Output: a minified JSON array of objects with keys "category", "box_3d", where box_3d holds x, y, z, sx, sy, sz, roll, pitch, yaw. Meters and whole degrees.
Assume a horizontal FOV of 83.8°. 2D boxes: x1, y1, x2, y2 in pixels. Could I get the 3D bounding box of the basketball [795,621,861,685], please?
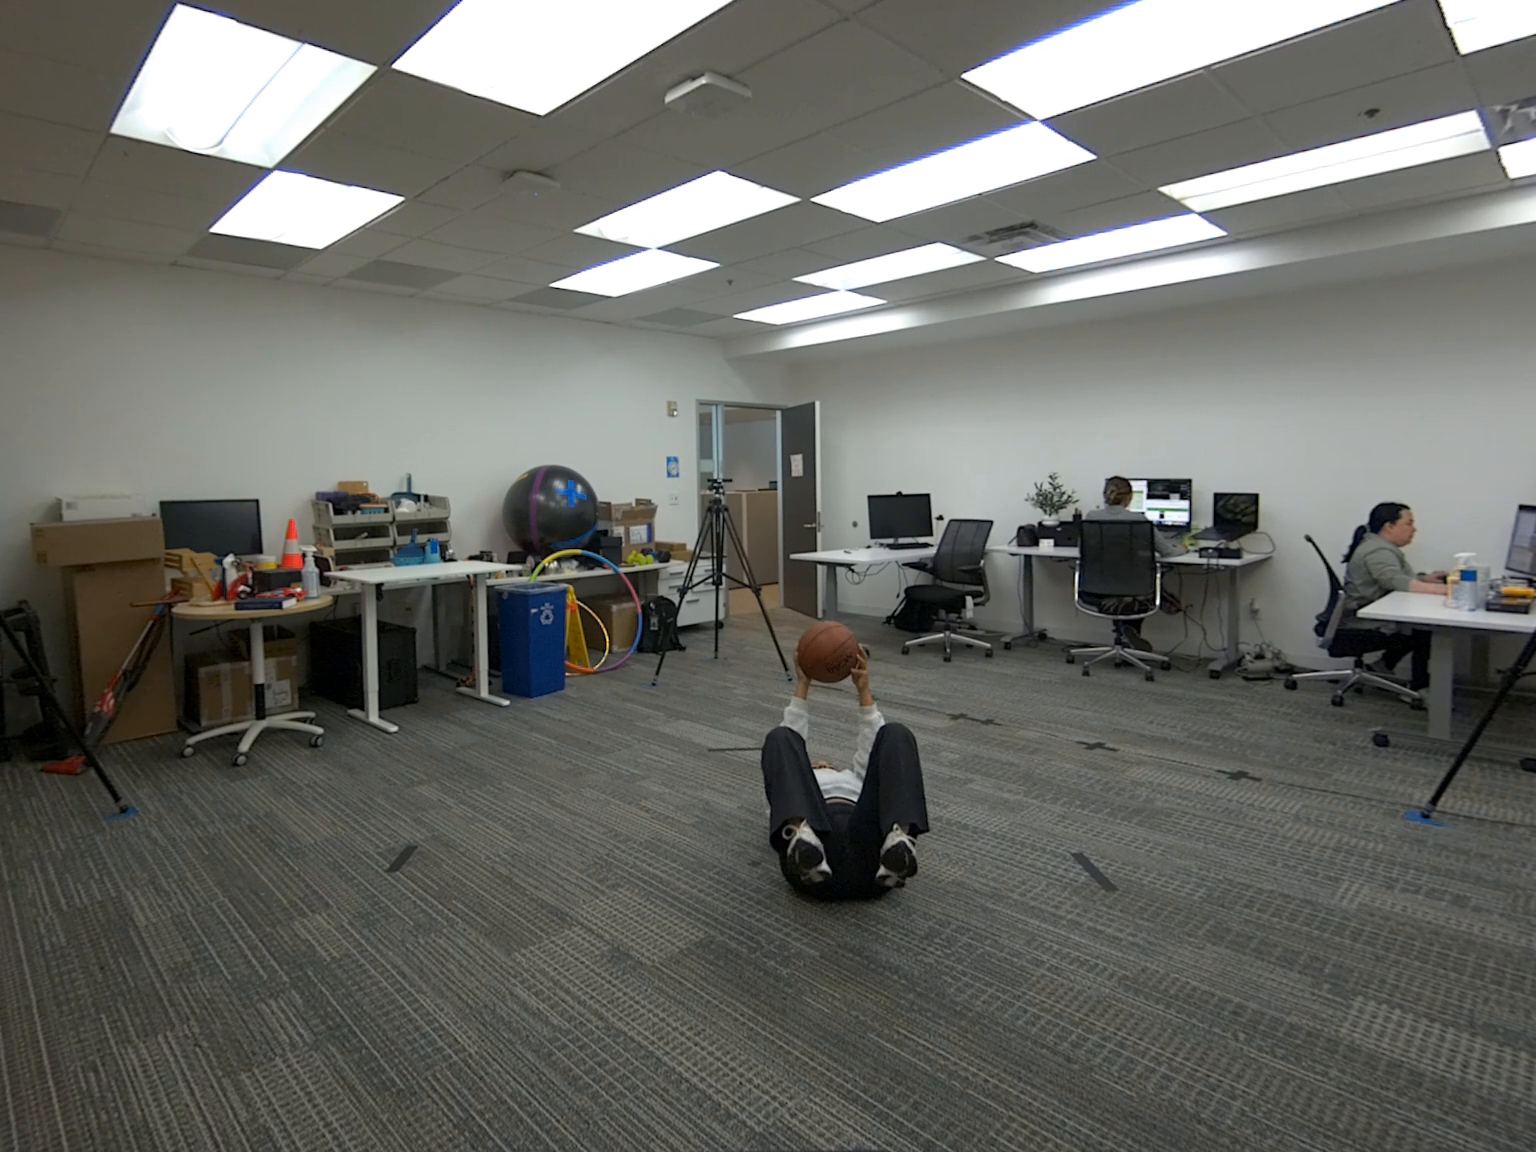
[{"category":"basketball","box_3d":[0.237,0.303,3.312,0.236,0.235,0.237,-1,5,-2]}]
